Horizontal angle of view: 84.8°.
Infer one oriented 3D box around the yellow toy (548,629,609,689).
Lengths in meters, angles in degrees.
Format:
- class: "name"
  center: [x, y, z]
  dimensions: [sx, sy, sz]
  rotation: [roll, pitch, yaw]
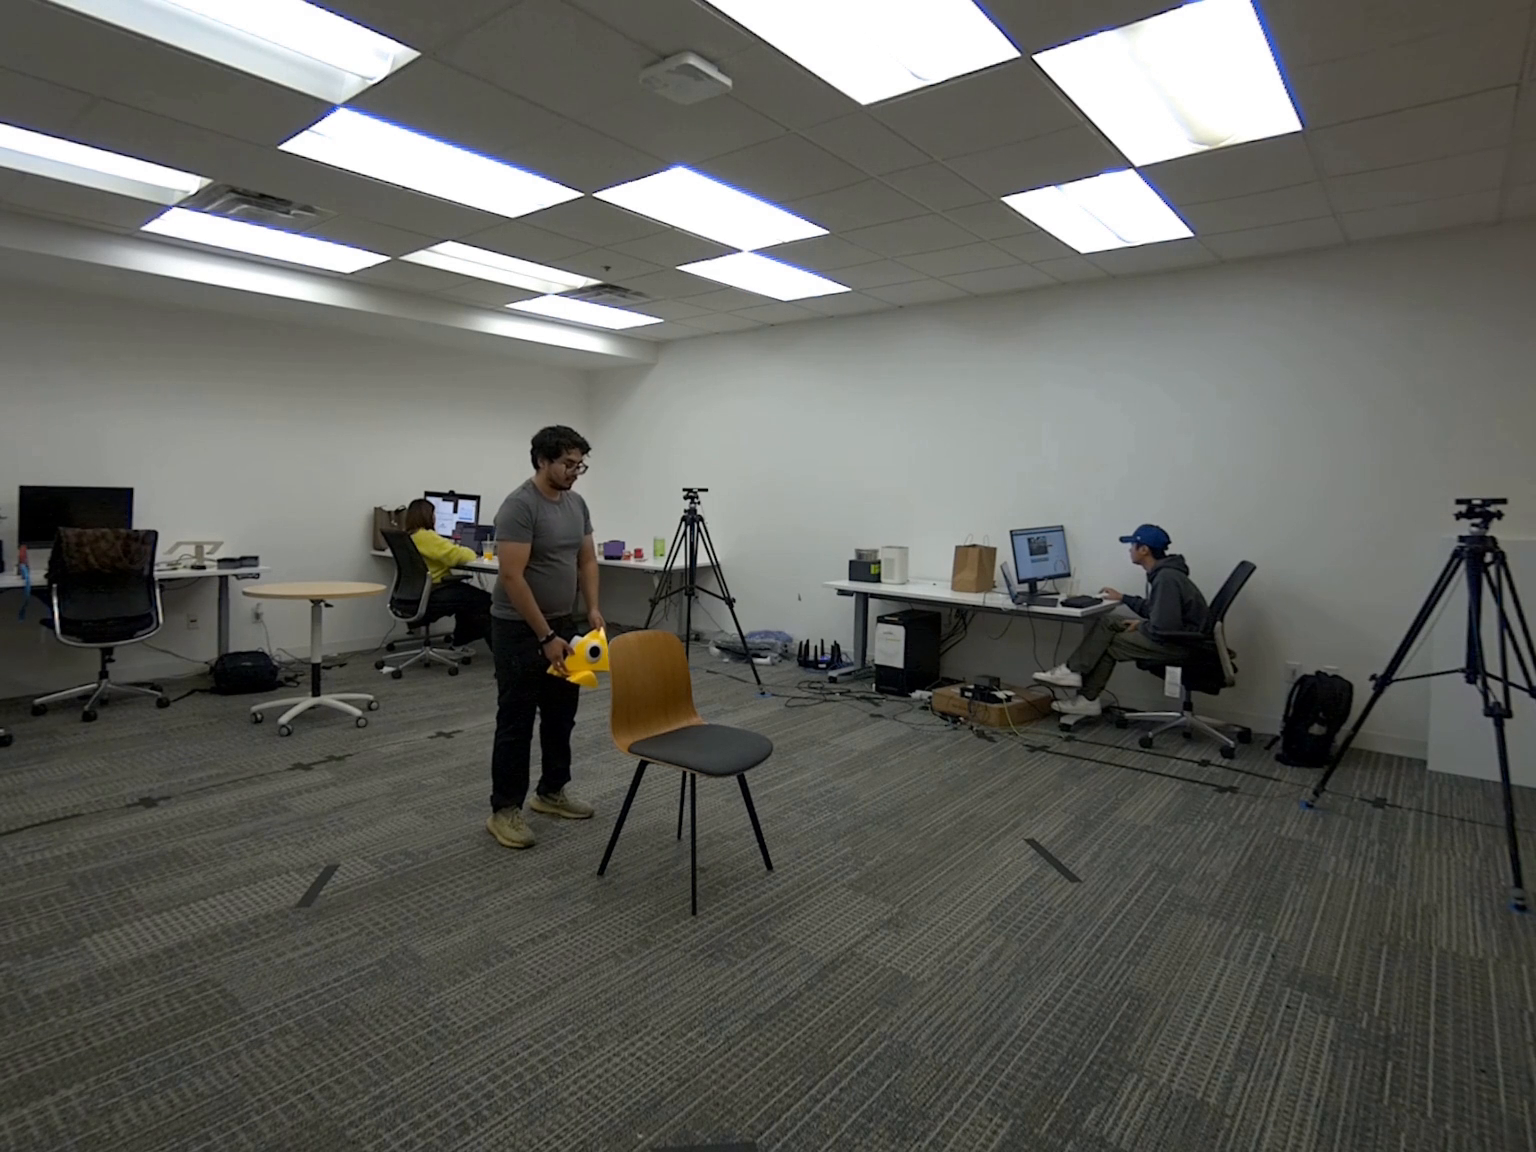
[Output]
- class: "yellow toy"
  center: [-0.748, 0.302, 3.356]
  dimensions: [0.212, 0.232, 0.186]
  rotation: [13, -8, 31]
